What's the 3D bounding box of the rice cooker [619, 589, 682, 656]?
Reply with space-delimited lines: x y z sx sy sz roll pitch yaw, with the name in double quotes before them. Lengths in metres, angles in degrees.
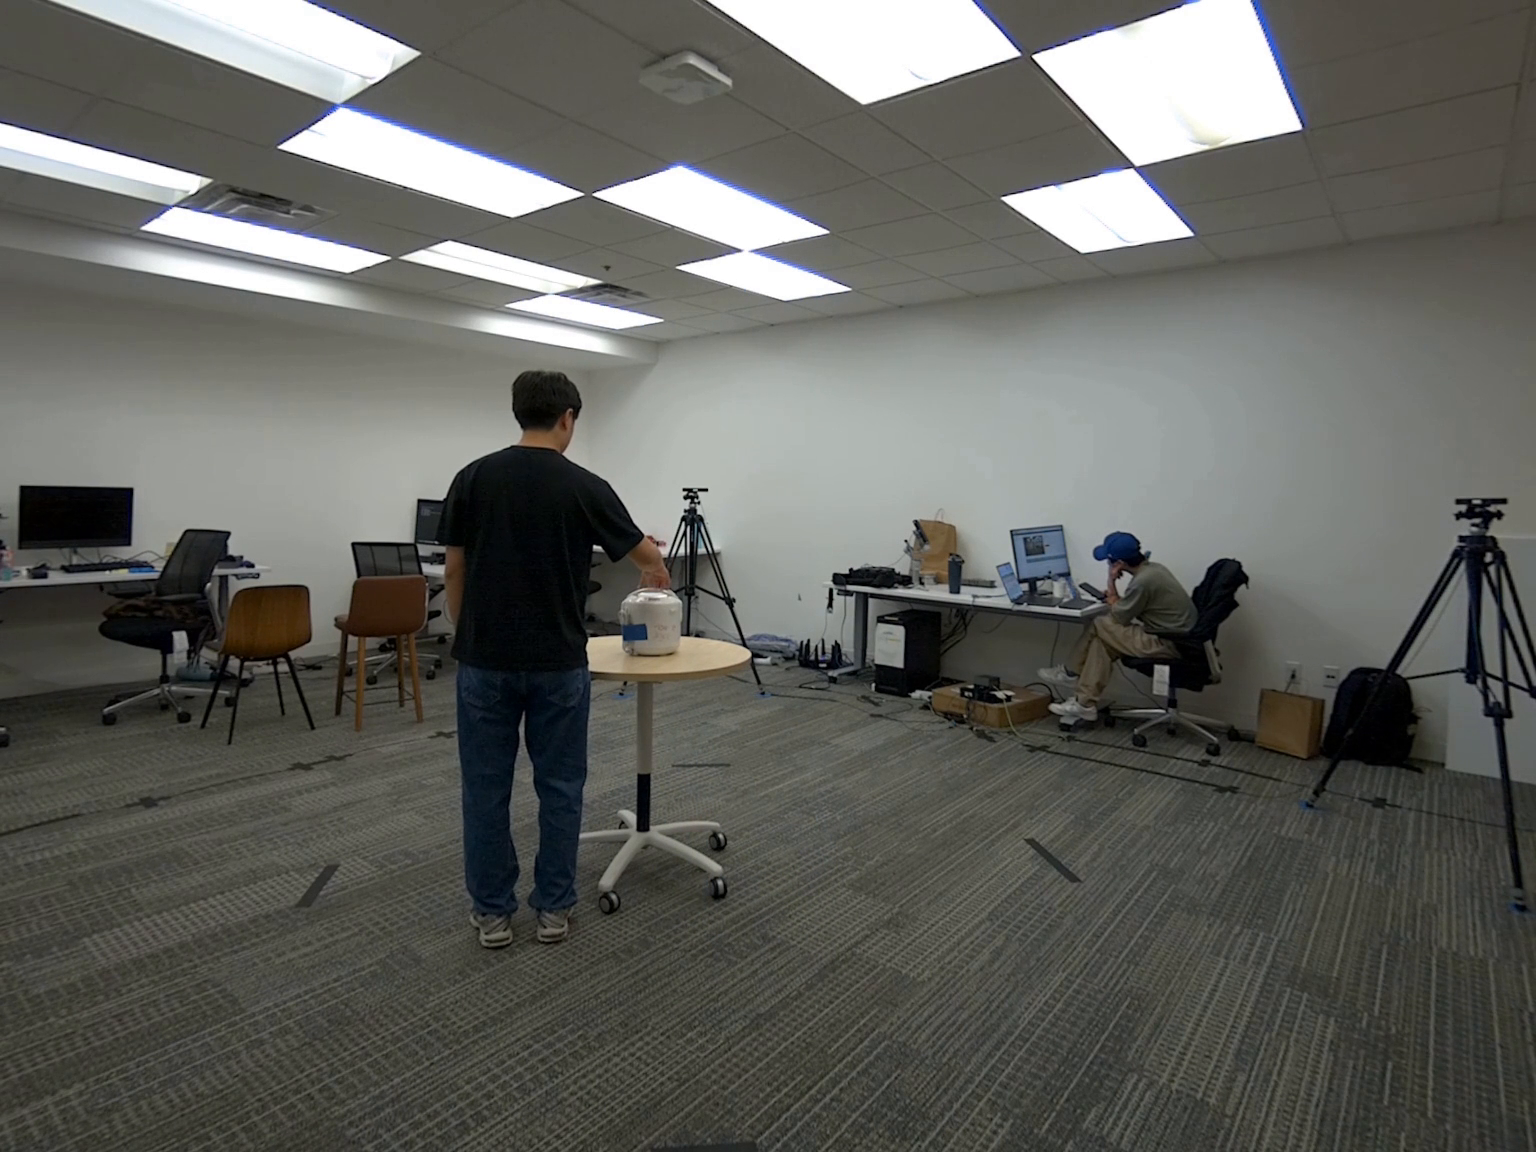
"rice cooker" -0.429 0.156 3.078 0.221 0.232 0.218 1 4 1
